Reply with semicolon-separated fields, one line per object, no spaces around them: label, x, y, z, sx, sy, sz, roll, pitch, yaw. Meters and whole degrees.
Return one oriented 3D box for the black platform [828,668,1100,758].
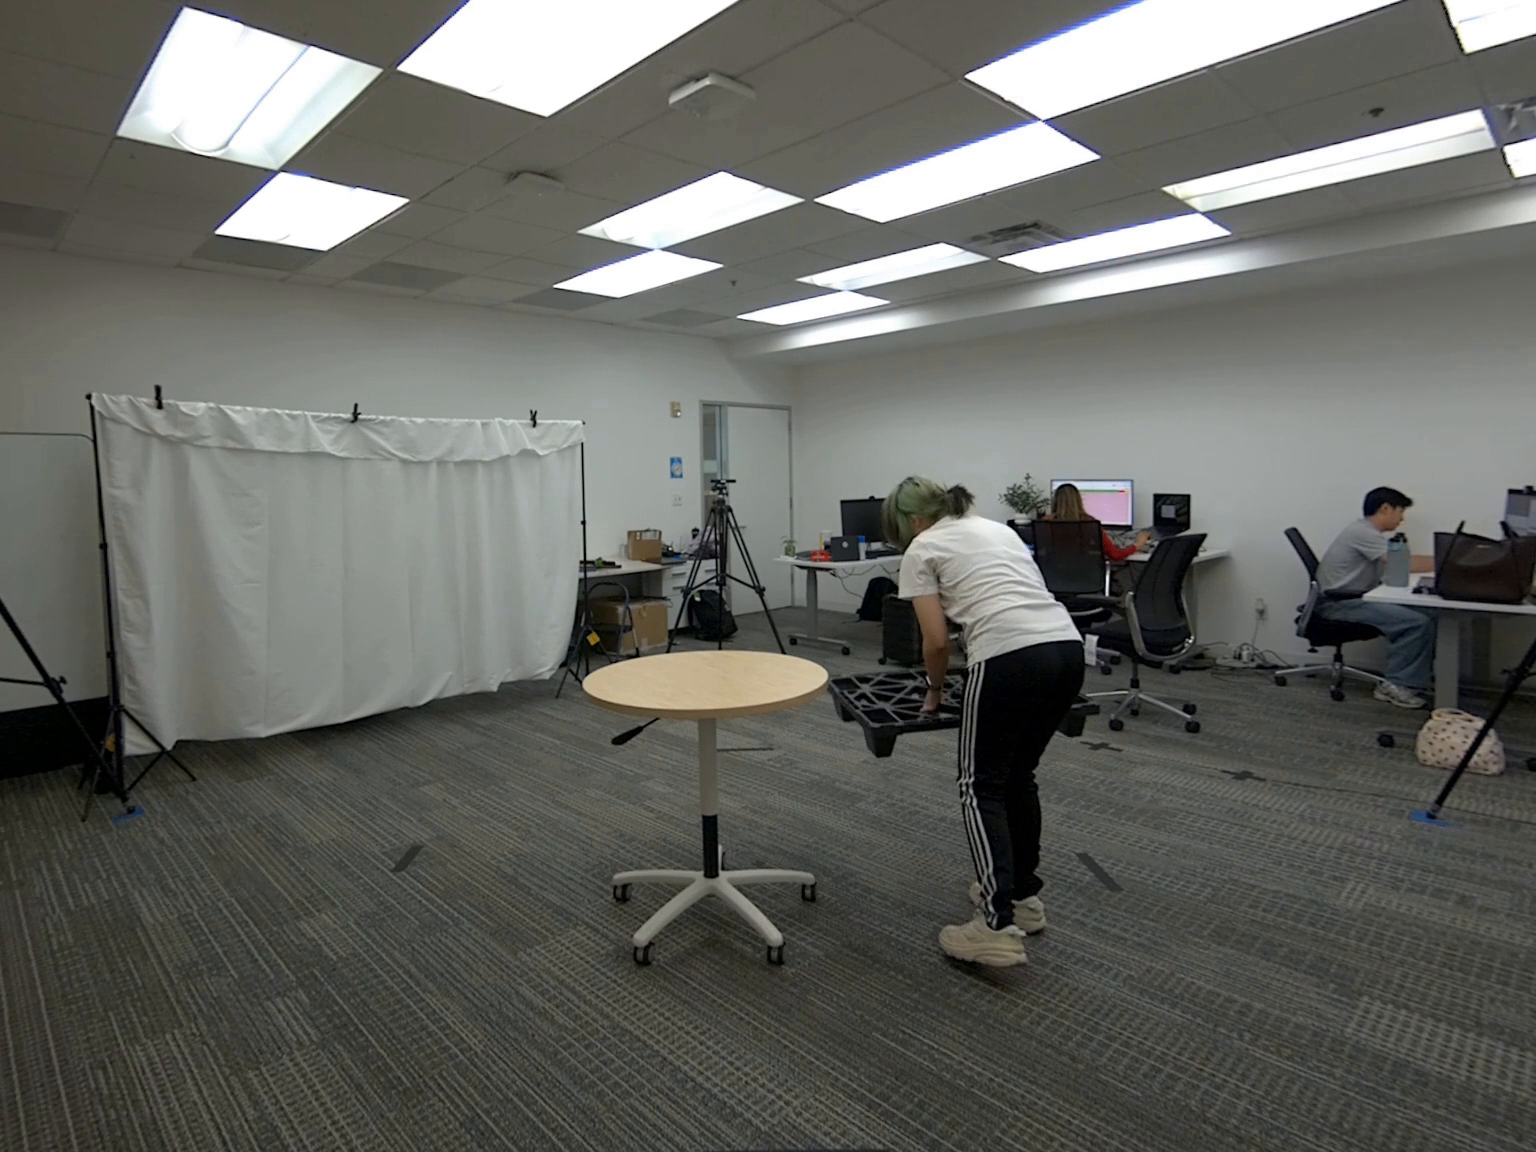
black platform;0.670;0.479;3.089;0.798;0.142;0.616;-4;11;-10
